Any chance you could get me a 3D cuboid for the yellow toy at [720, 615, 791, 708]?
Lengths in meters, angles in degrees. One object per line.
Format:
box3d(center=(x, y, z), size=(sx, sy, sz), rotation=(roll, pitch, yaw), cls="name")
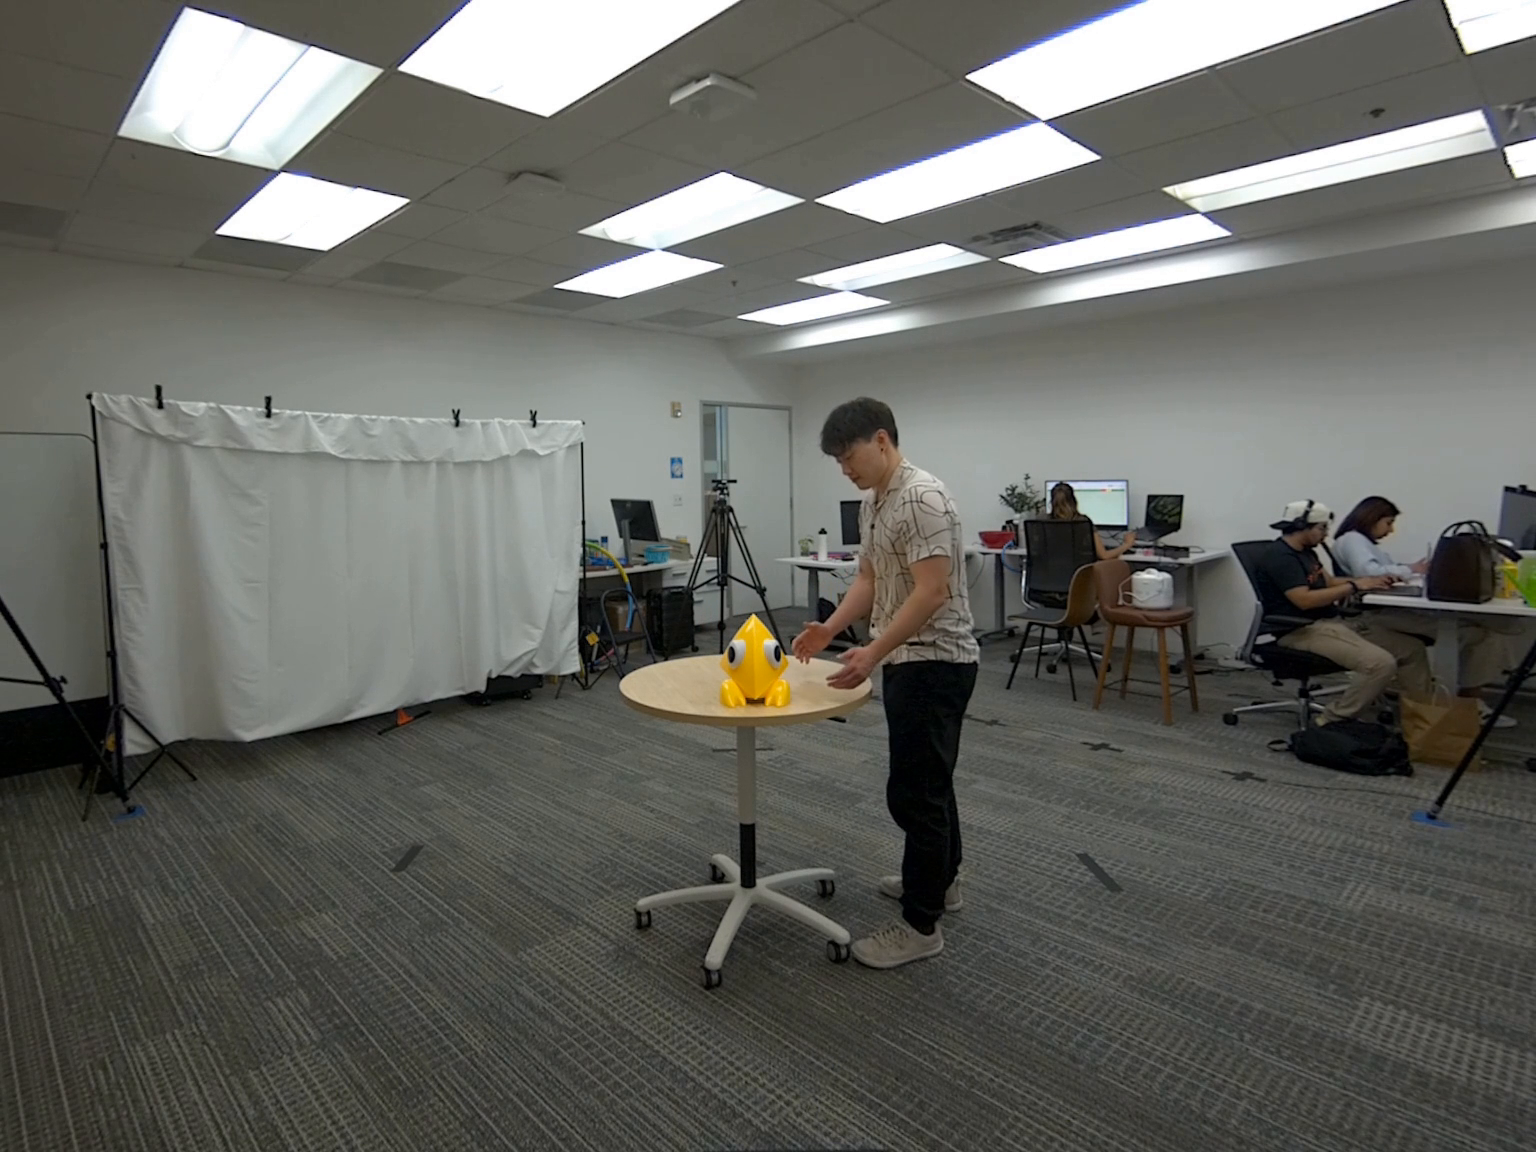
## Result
box3d(center=(-0.027, 0.231, 2.393), size=(0.204, 0.230, 0.194), rotation=(-1, 3, -2), cls="yellow toy")
